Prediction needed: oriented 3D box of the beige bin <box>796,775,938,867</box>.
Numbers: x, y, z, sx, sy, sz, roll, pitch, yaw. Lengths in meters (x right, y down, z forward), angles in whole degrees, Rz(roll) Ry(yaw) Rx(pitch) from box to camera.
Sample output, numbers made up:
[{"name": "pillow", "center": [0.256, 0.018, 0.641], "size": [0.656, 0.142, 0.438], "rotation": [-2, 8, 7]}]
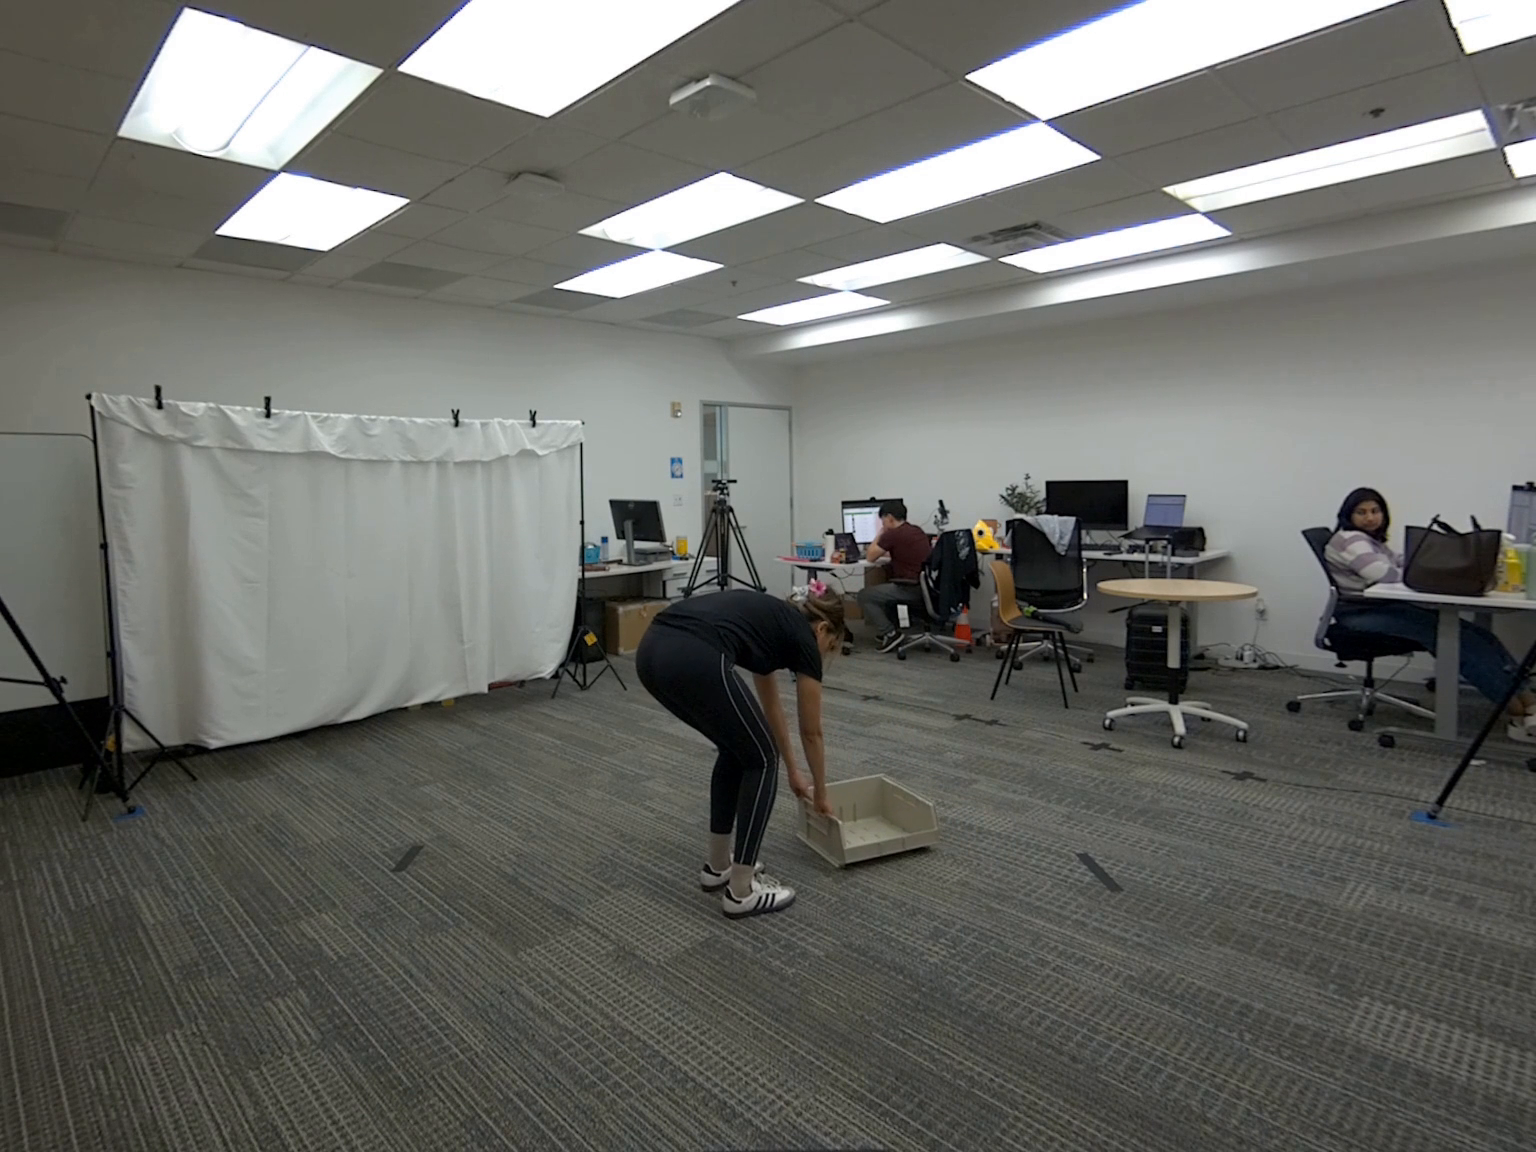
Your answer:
[{"name": "beige bin", "center": [0.374, 0.932, 3.265], "size": [0.414, 0.188, 0.387], "rotation": [-5, 6, -25]}]
